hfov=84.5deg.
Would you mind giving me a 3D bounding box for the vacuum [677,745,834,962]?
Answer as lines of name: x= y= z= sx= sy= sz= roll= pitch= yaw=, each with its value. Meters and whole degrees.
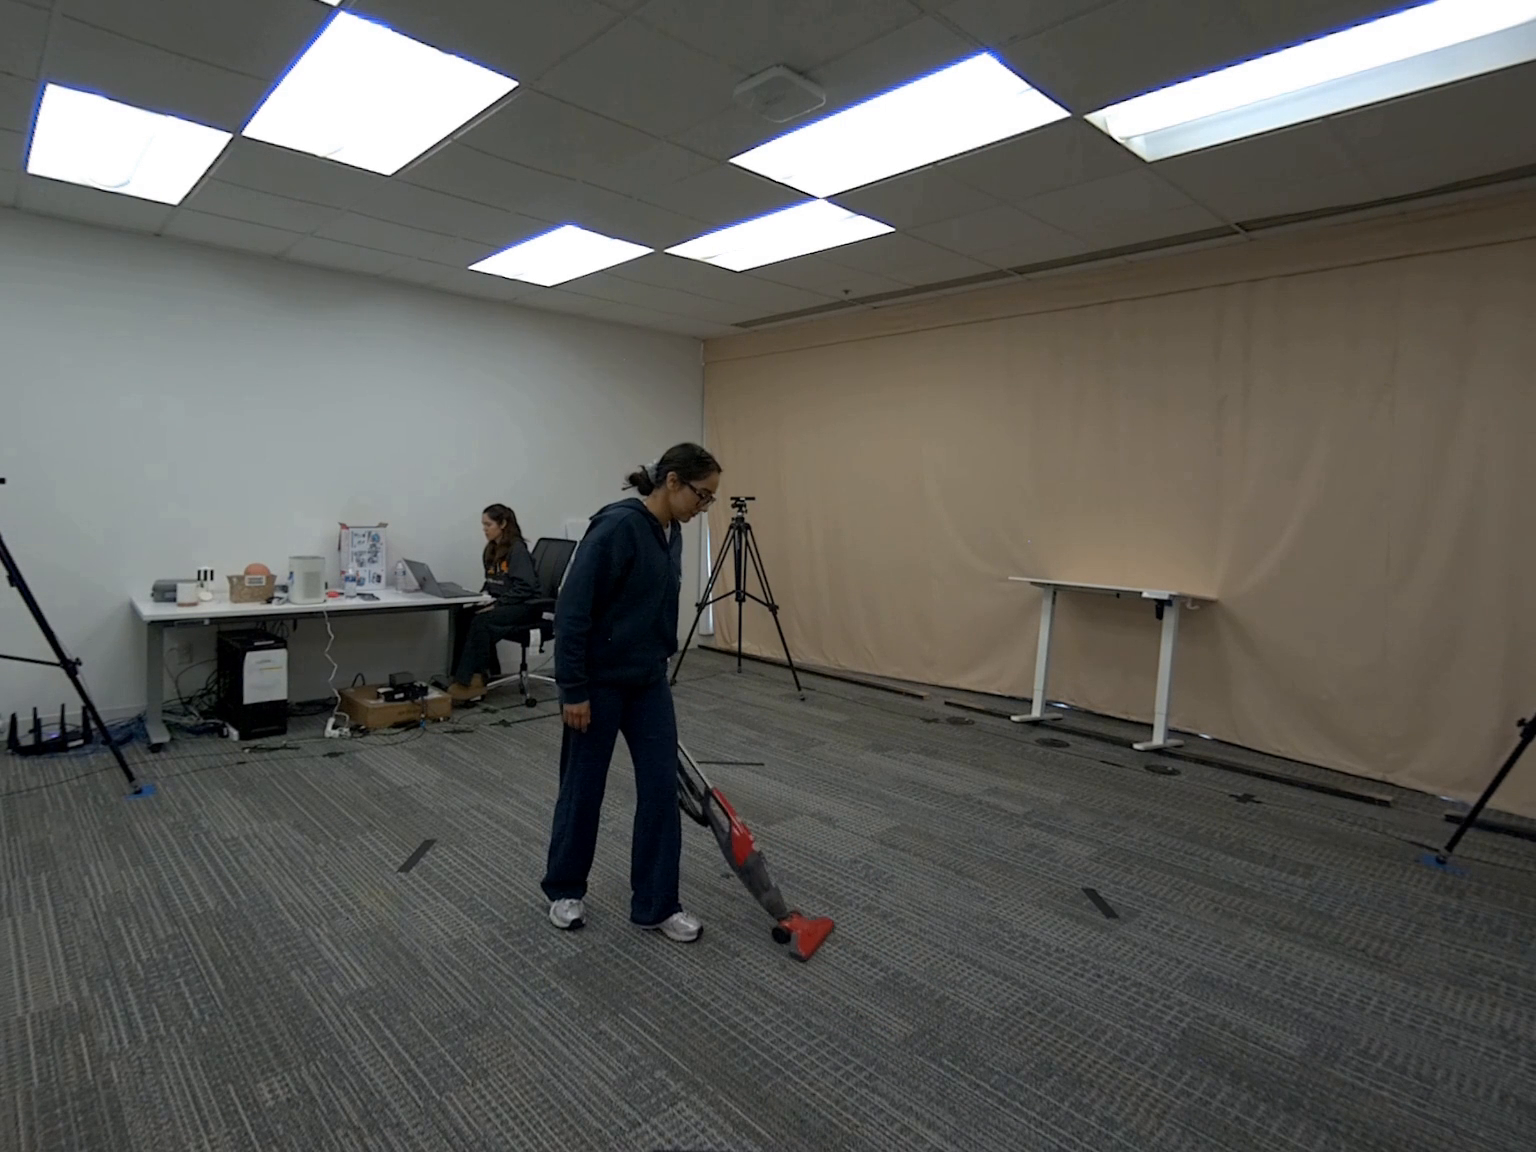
vacuum: x=-0.202 y=0.748 z=2.829 sx=0.144 sy=1.068 sz=0.248 roll=-45 pitch=-18 yaw=18
